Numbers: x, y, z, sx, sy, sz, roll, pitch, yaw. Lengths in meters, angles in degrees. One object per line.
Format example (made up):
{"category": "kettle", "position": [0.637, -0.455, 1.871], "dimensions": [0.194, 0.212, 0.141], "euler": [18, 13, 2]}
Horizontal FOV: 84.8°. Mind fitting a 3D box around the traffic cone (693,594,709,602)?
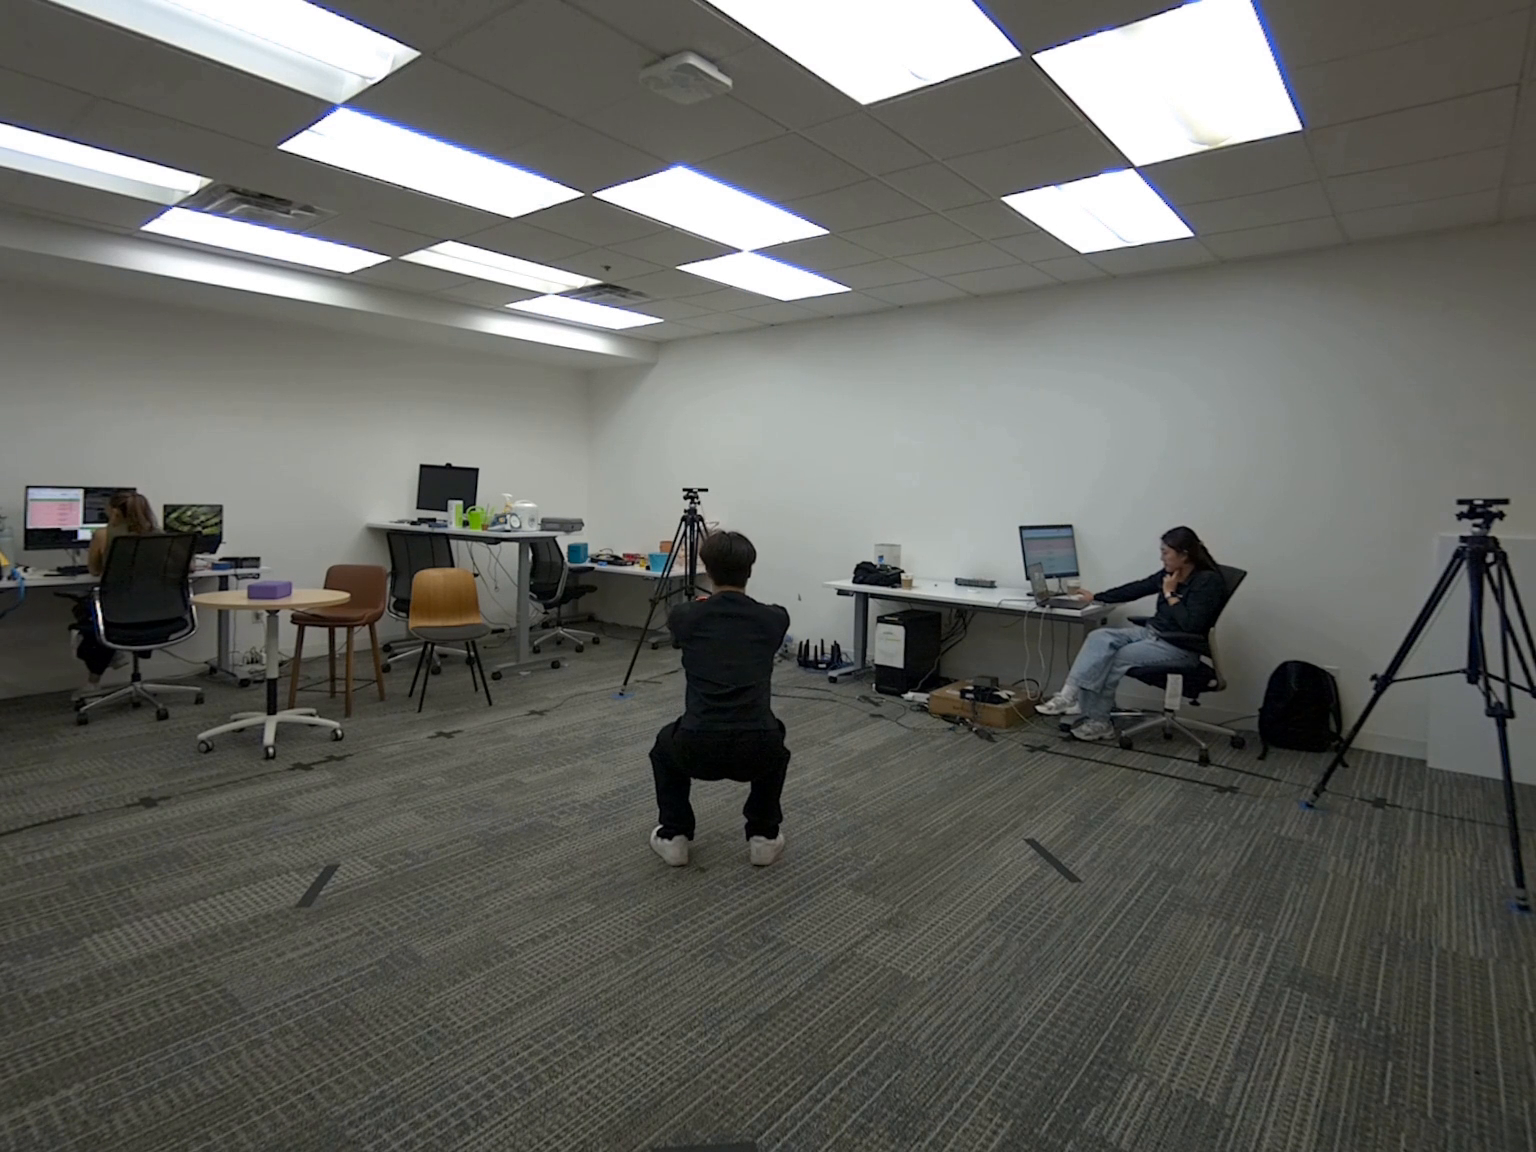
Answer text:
{"category": "traffic cone", "position": [-0.235, 0.297, 3.795], "dimensions": [0.203, 0.387, 0.203], "euler": [4, -9, -7]}
